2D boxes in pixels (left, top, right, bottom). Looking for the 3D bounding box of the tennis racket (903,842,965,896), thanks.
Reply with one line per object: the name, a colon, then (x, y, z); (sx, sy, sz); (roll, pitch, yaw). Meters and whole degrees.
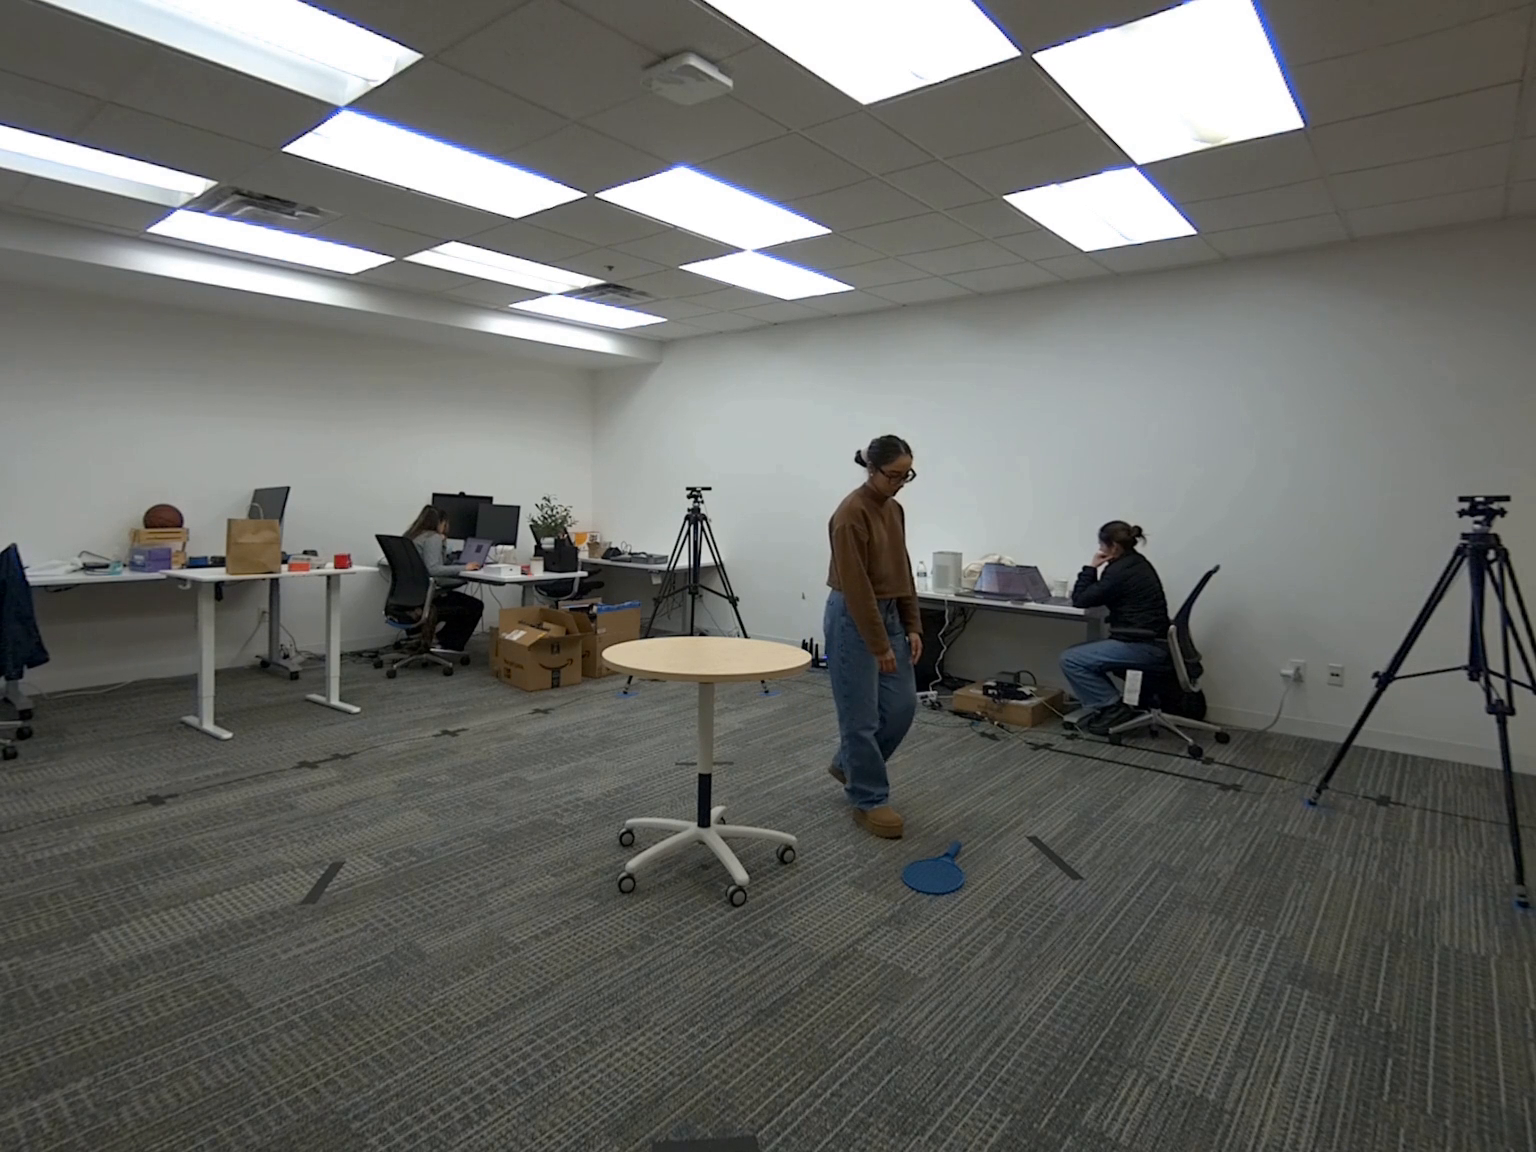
tennis racket: (0.625, 1.064, 3.136); (0.220, 0.031, 0.422); (5, 9, 30)
